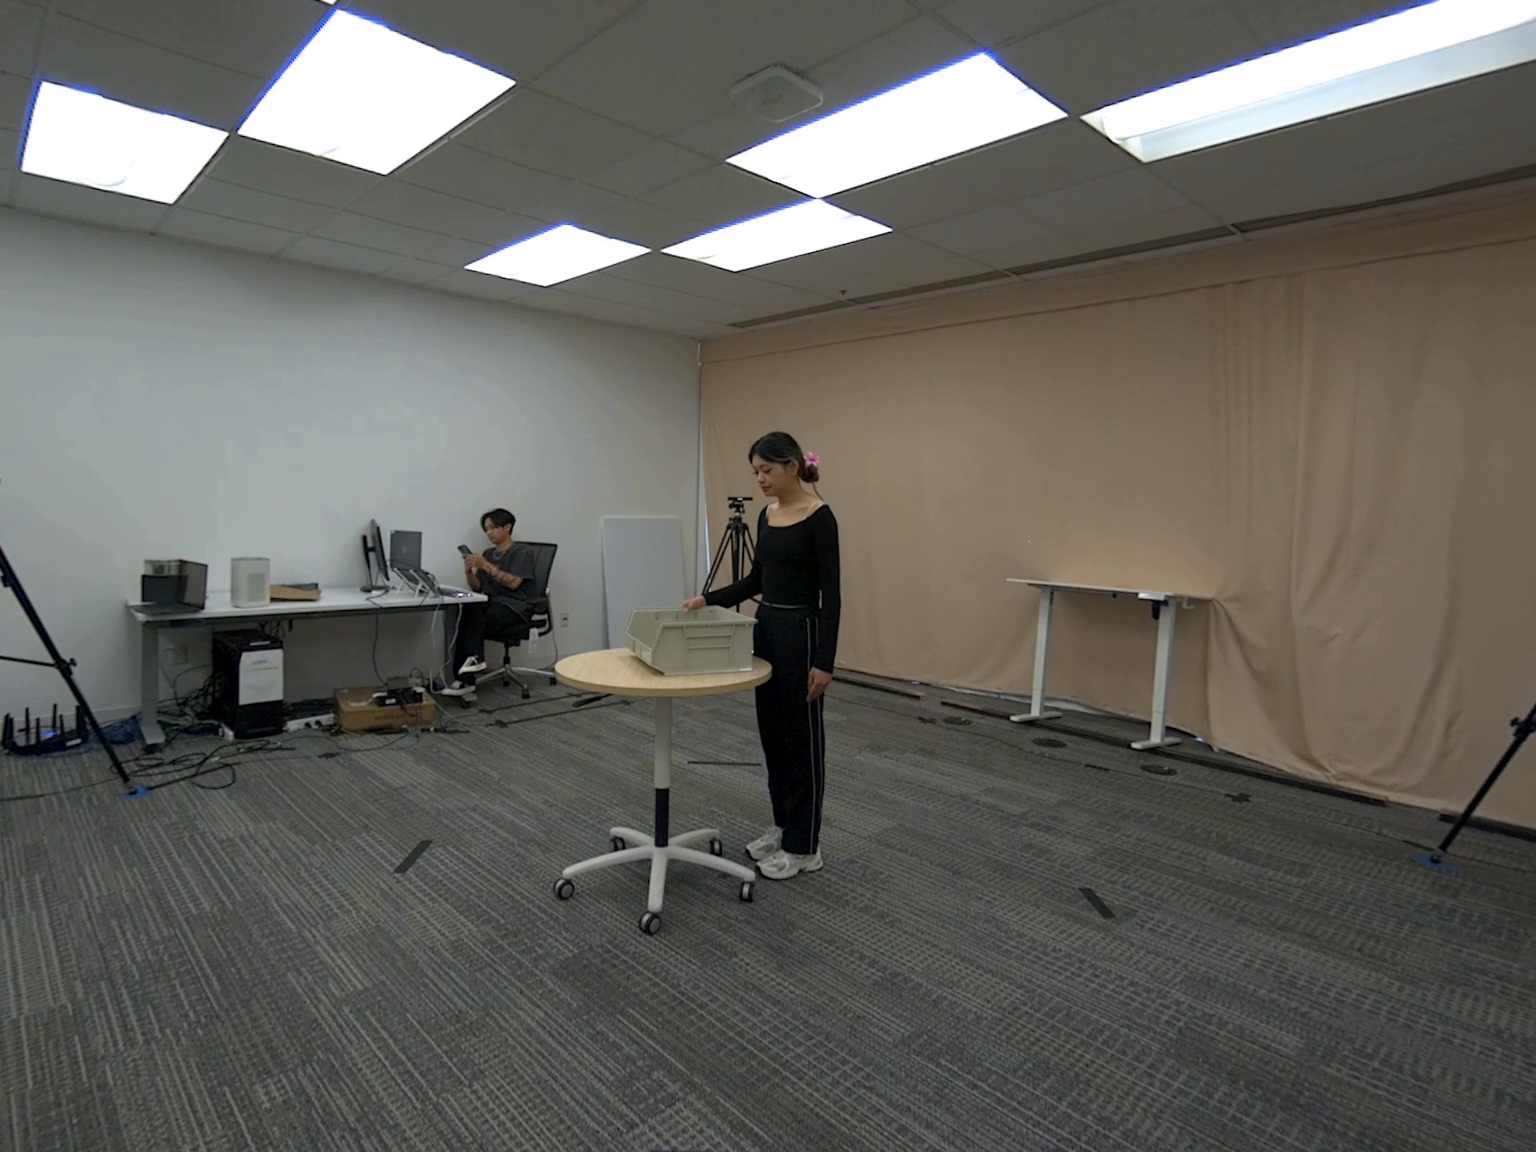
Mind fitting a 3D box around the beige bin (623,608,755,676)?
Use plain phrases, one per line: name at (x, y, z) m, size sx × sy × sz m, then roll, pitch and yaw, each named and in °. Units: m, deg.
beige bin at (-0.296, 0.224, 3.030) m, size 0.371 × 0.188 × 0.430 m, roll 0°, pitch 4°, yaw -21°
